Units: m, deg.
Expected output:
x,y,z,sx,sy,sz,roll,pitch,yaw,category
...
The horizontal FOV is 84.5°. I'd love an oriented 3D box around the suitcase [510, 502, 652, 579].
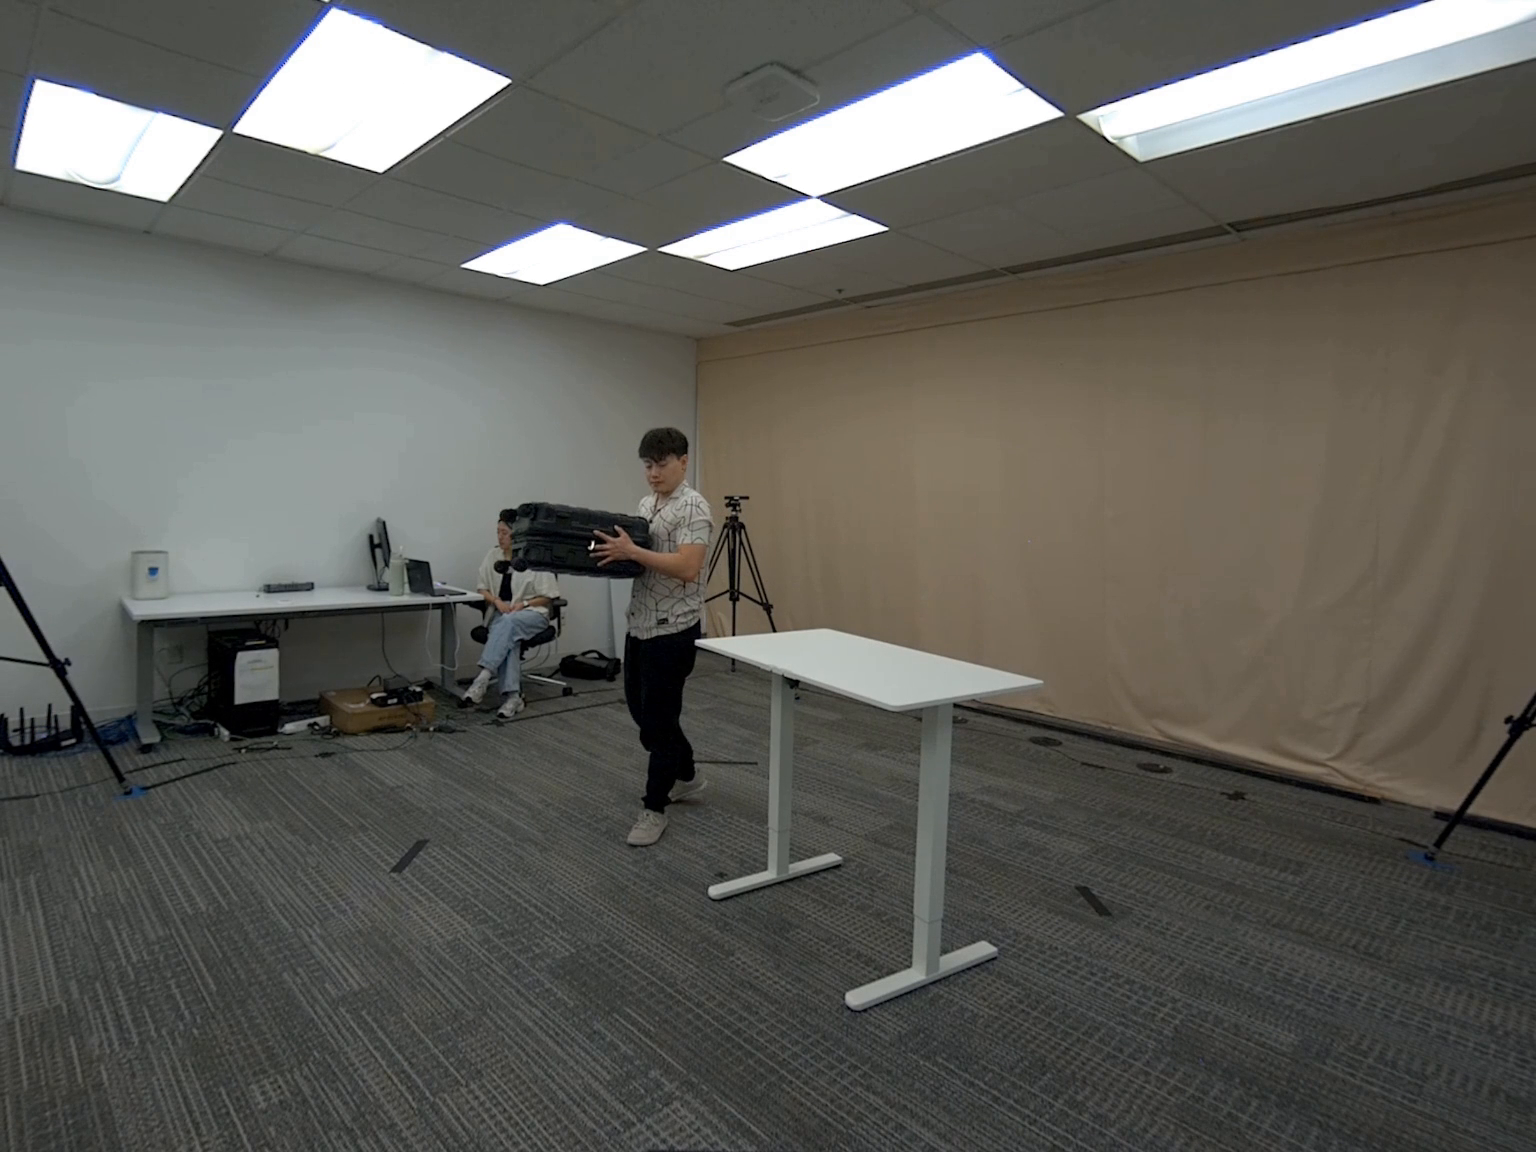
x,y,z,sx,sy,sz,roll,pitch,yaw,category
-0.773,-0.133,3.358,0.536,0.249,0.383,6,-5,-34,suitcase
